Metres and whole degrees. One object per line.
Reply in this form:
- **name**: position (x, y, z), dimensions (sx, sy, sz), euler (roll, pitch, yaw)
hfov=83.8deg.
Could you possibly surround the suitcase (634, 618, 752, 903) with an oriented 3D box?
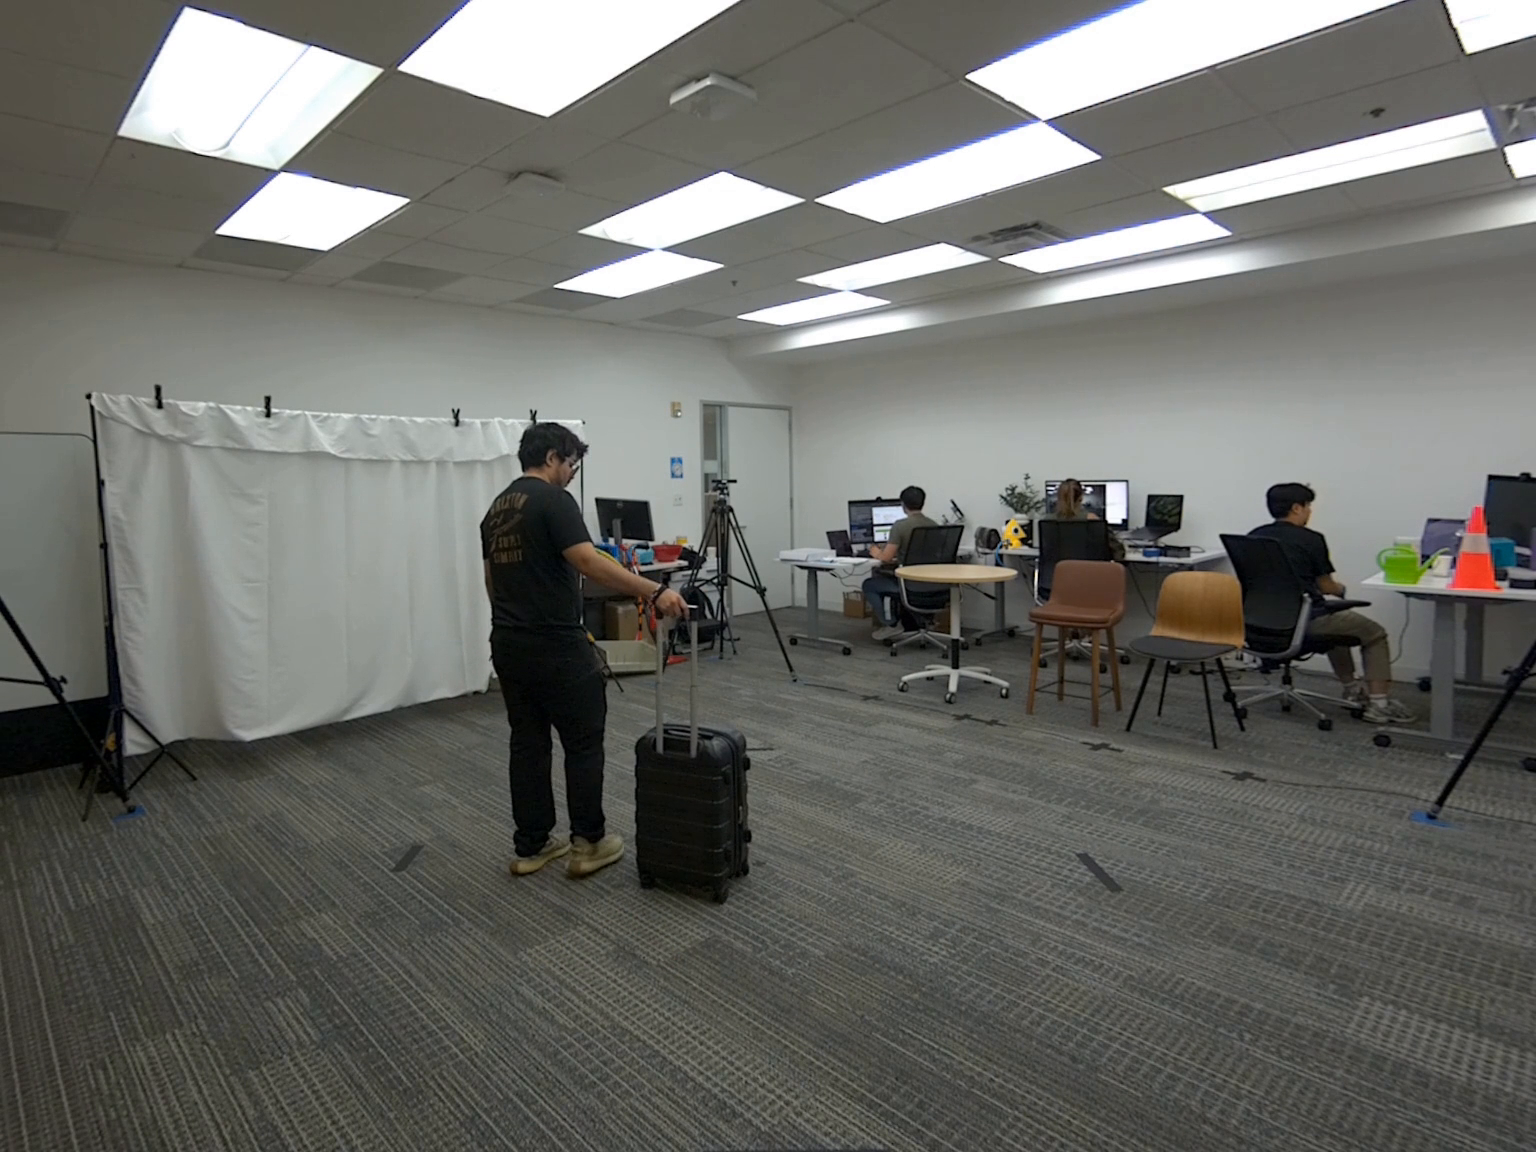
- **suitcase**: position (-0.257, 0.594, 2.955), dimensions (0.392, 0.976, 0.252), euler (1, 3, 23)
